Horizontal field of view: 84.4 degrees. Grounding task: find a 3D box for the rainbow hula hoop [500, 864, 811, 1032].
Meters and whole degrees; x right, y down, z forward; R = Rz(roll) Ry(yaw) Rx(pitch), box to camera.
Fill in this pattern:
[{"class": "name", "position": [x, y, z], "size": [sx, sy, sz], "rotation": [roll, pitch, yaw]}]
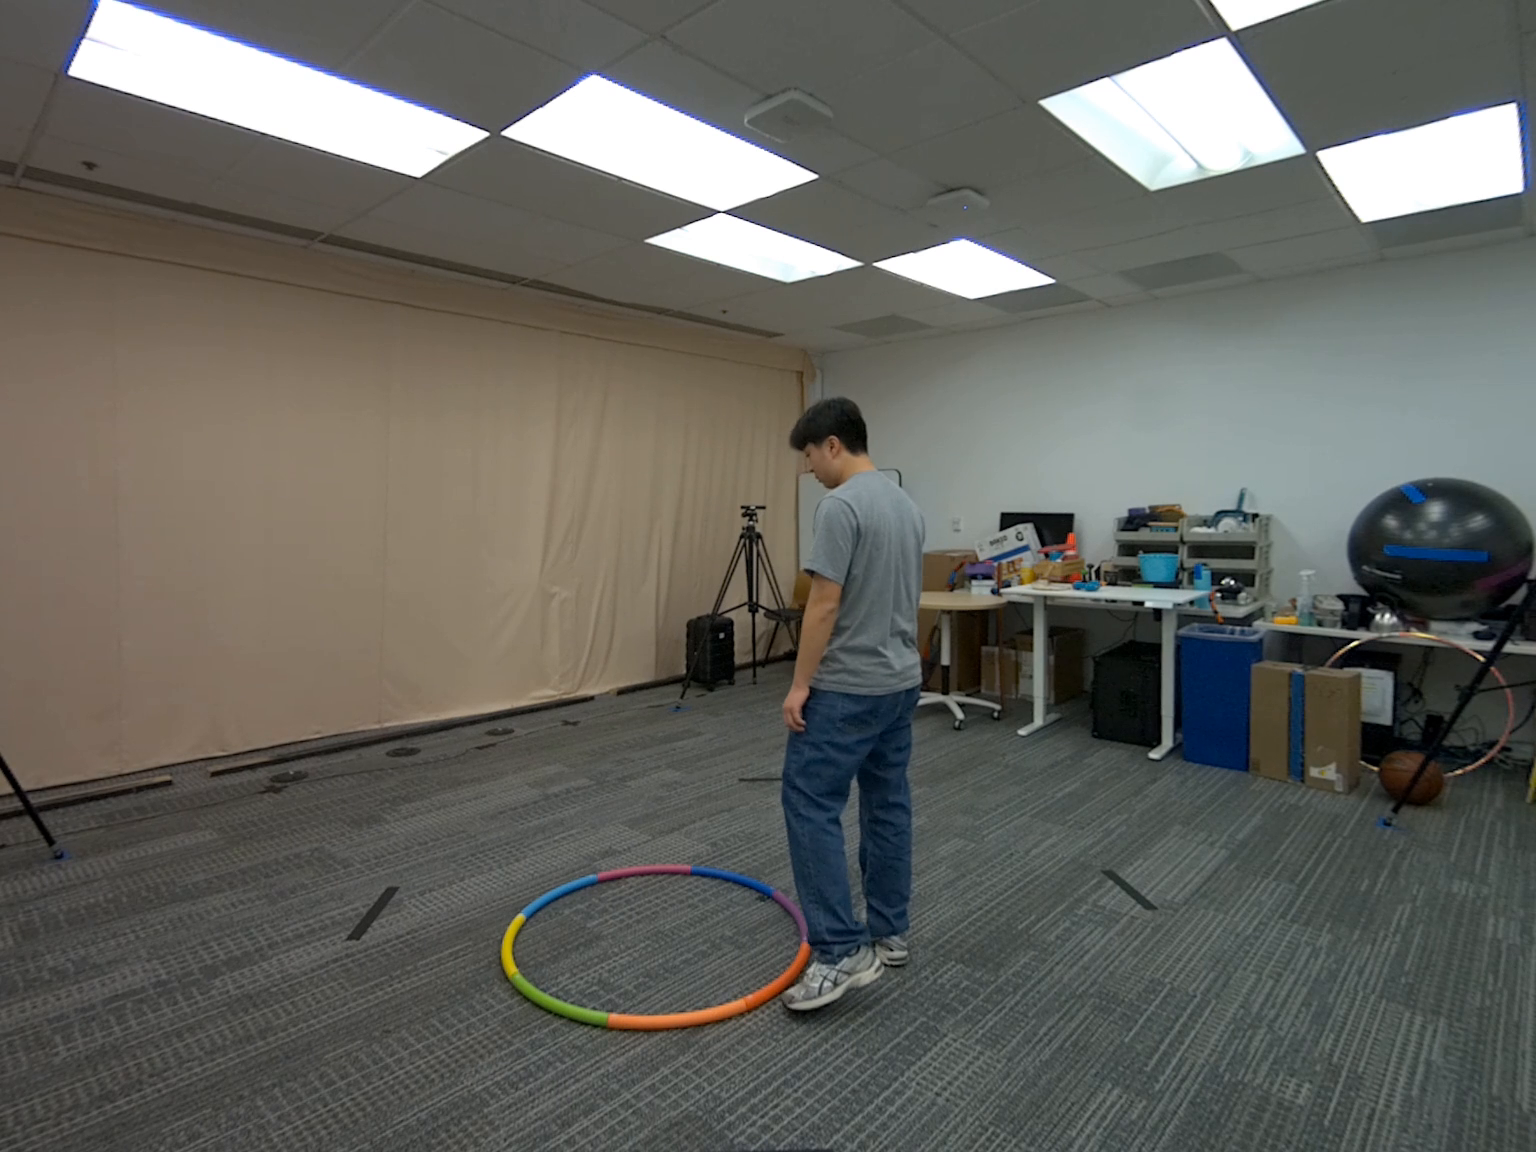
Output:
[{"class": "rainbow hula hoop", "position": [-0.351, 1.139, 2.722], "size": [0.978, 0.035, 0.982], "rotation": [-1, 5, -2]}]
